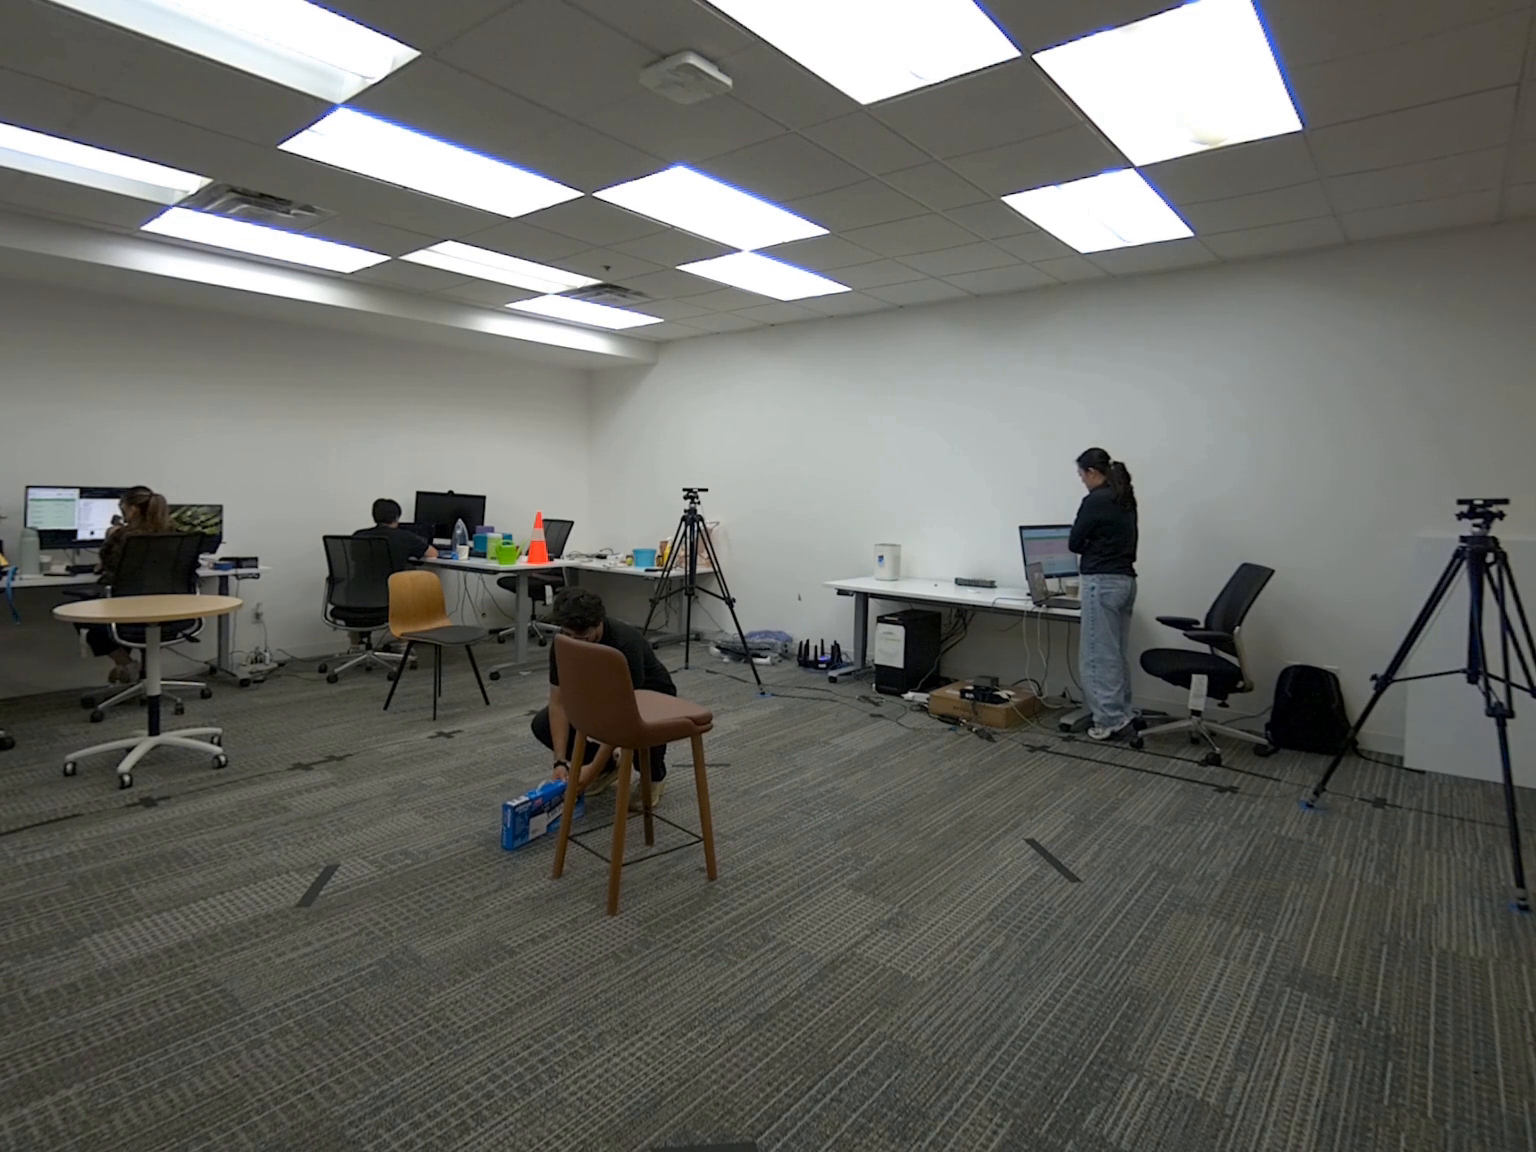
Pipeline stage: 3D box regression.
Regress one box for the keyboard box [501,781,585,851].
[{"bbox_3d":[-0.919,0.946,3.438,0.061,0.175,0.426,5,6,27],"label":"keyboard box"}]
